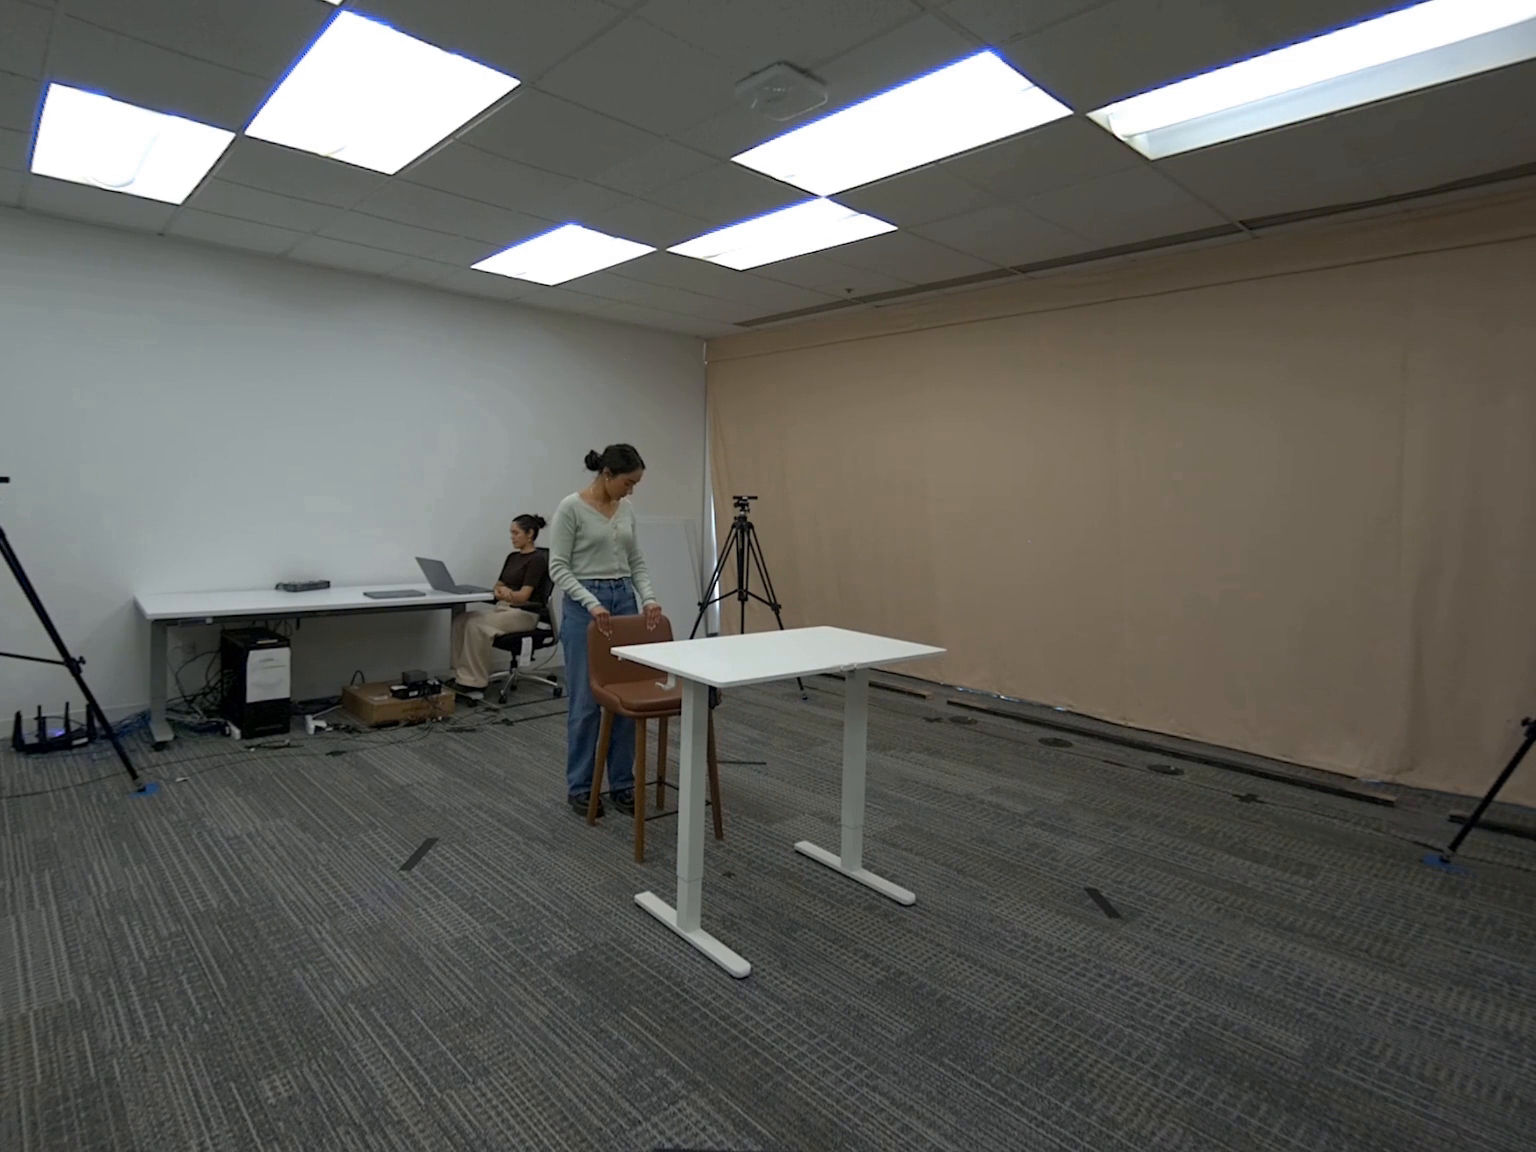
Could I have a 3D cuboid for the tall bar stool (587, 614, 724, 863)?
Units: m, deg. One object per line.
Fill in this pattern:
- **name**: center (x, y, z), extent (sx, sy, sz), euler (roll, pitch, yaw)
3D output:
- **tall bar stool**: center (-0.481, 0.619, 3.468), extent (0.446, 0.889, 0.479), euler (-1, 2, -38)
